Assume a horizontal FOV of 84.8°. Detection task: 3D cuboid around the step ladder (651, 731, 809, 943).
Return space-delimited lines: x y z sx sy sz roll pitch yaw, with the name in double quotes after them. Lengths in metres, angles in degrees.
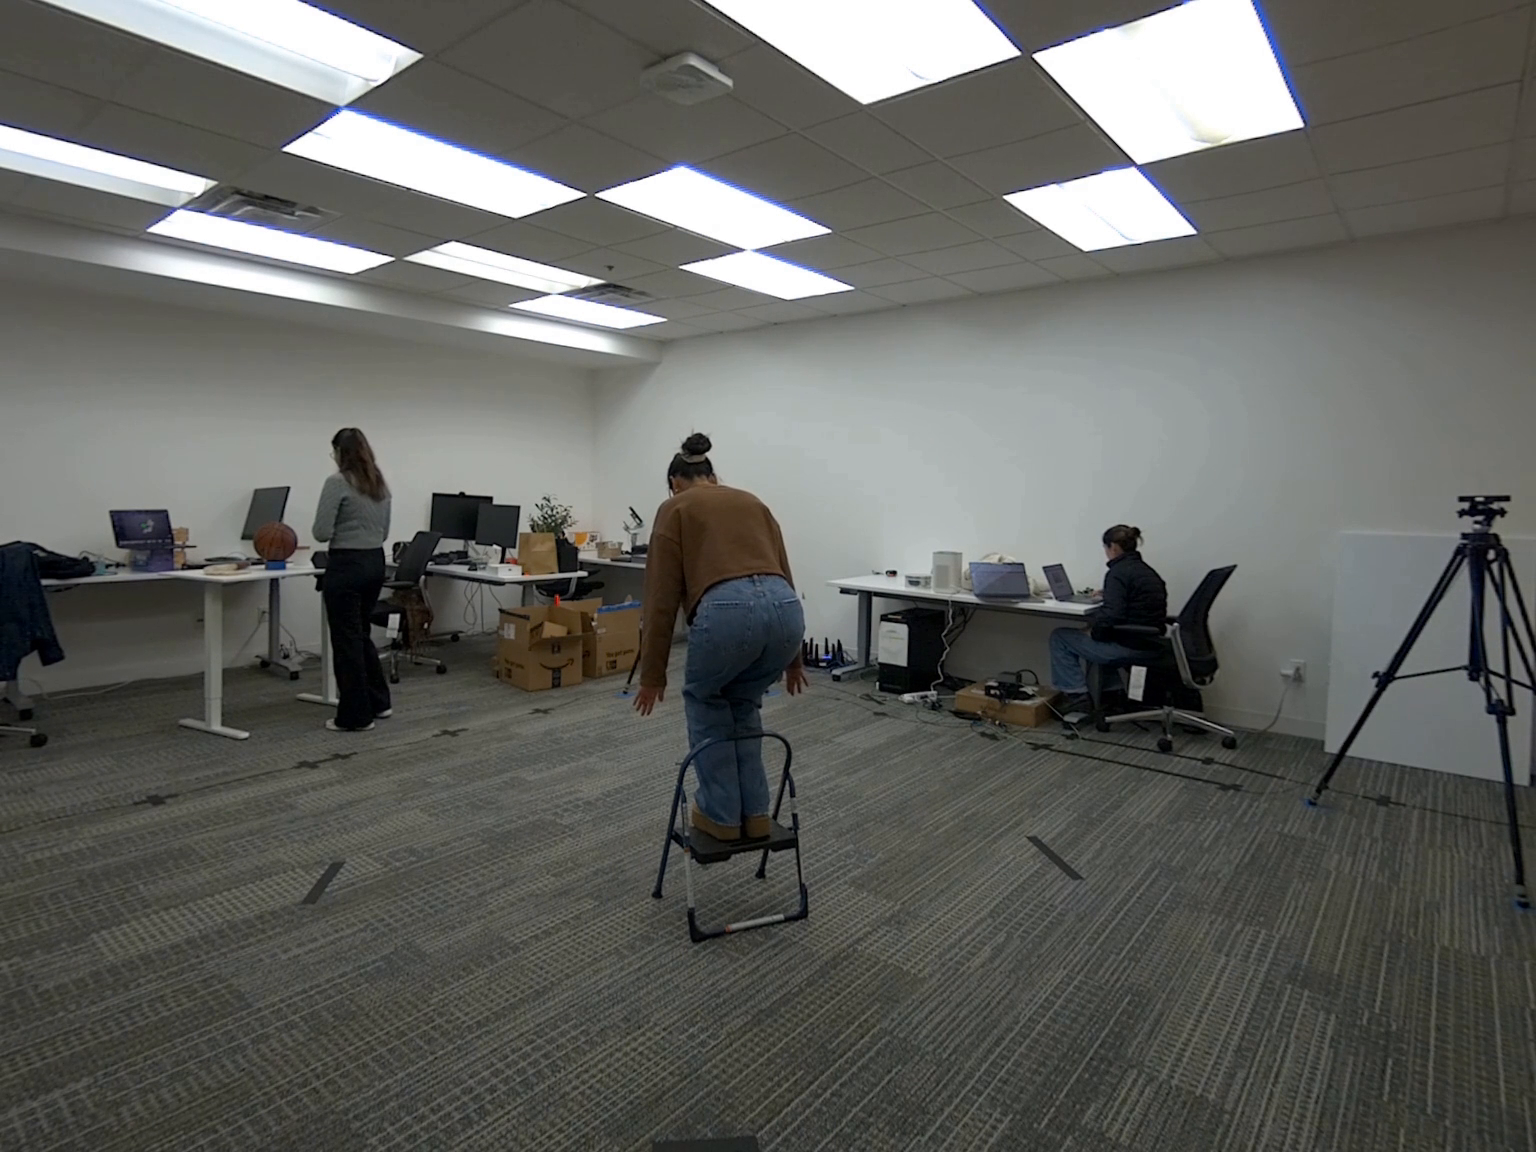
-0.130 0.797 2.814 0.420 0.604 0.359 -1 3 -27 "step ladder"
